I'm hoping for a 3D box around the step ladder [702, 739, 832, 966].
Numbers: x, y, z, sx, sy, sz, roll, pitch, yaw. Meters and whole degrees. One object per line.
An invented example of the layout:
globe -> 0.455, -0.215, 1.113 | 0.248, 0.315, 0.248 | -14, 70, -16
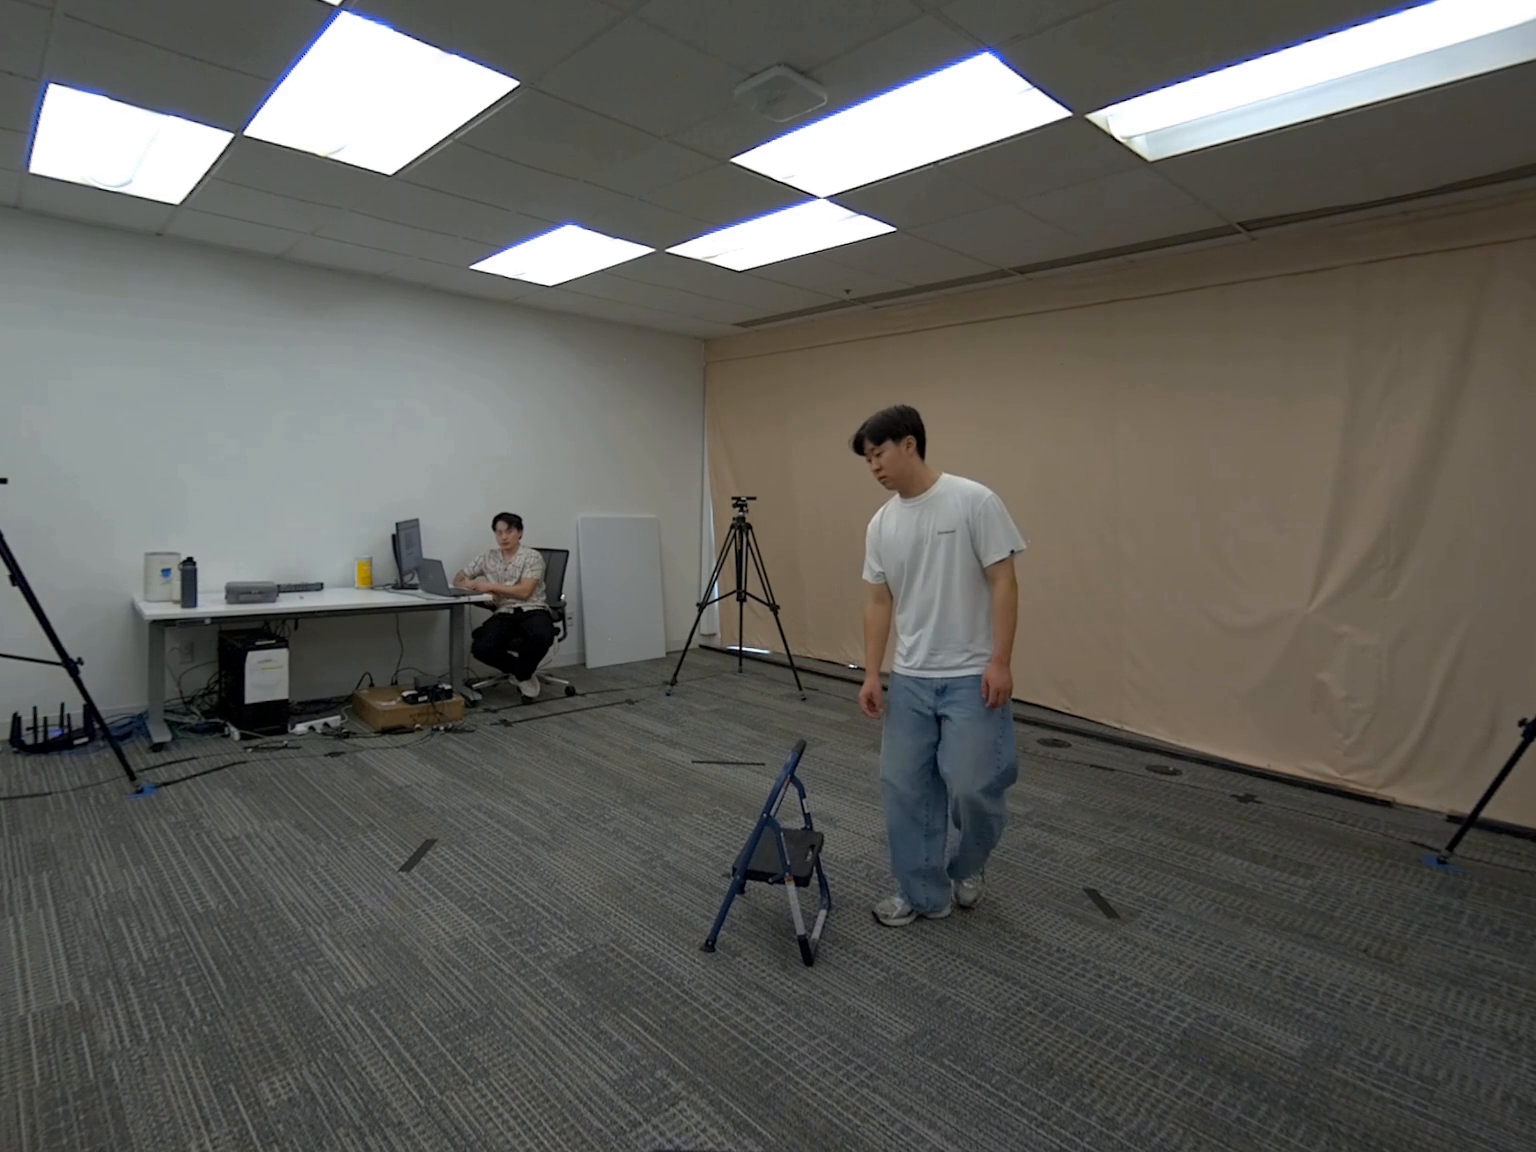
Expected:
step ladder -> 0.015, 0.841, 2.722 | 0.353, 0.604, 0.427 | 3, 4, 13
